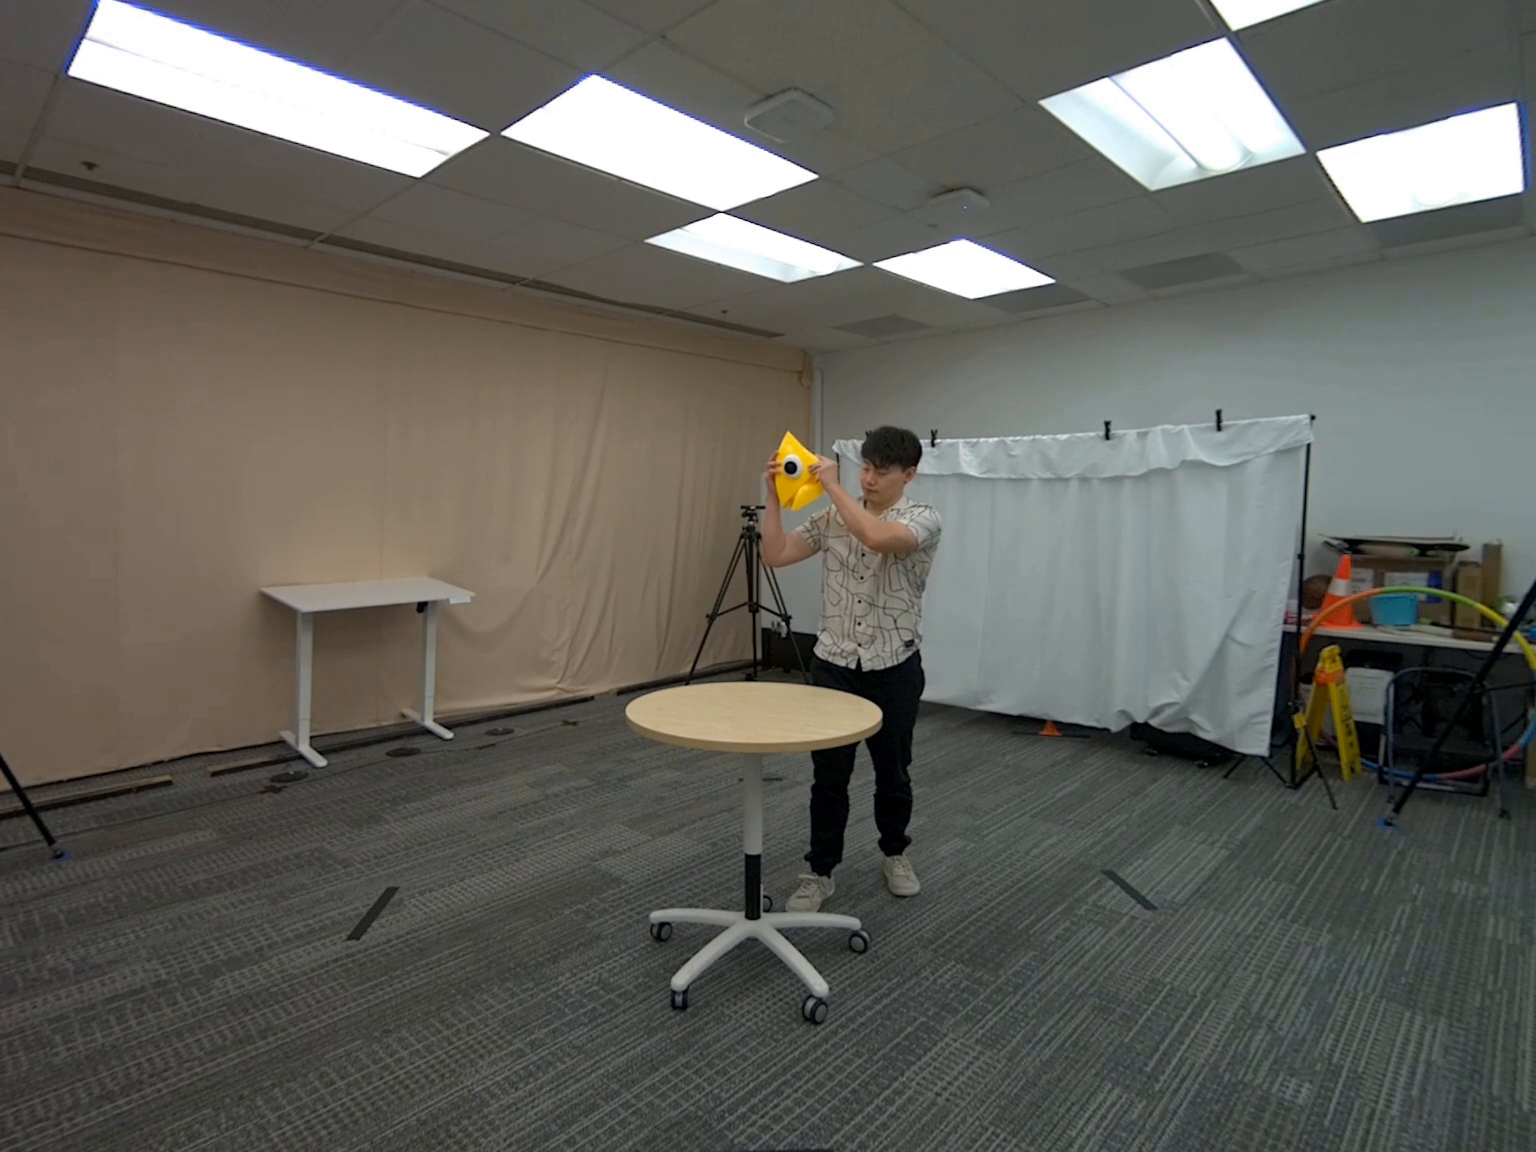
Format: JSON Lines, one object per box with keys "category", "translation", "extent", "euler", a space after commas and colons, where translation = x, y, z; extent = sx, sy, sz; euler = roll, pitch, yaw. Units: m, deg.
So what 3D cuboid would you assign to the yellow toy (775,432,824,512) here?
{"category": "yellow toy", "translation": [0.089, -0.369, 2.934], "extent": [0.192, 0.227, 0.208], "euler": [-34, 13, -6]}
